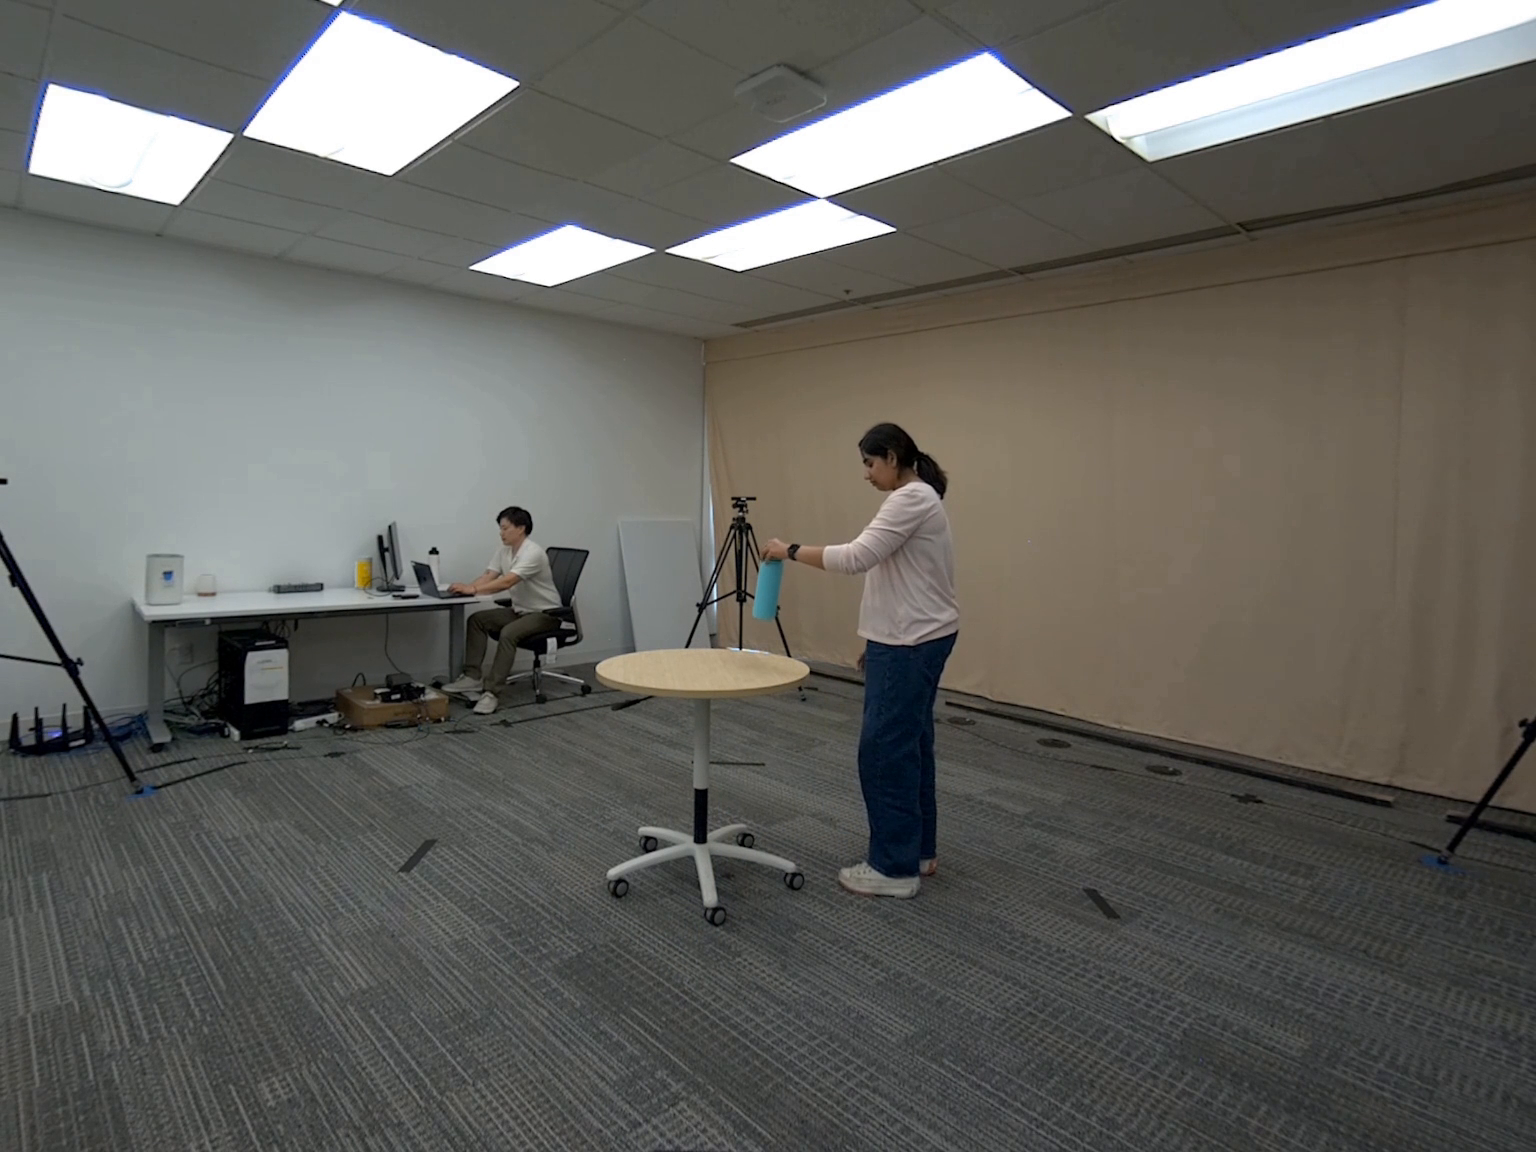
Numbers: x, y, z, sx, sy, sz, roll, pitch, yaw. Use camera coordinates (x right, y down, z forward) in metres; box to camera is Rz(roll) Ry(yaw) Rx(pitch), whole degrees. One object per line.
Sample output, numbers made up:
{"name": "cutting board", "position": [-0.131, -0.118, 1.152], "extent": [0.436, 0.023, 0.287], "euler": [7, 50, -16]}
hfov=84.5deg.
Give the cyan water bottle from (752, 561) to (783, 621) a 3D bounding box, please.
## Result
{"name": "cyan water bottle", "position": [0.005, 0.021, 3.154], "extent": [0.092, 0.281, 0.093], "euler": [7, 12, -3]}
